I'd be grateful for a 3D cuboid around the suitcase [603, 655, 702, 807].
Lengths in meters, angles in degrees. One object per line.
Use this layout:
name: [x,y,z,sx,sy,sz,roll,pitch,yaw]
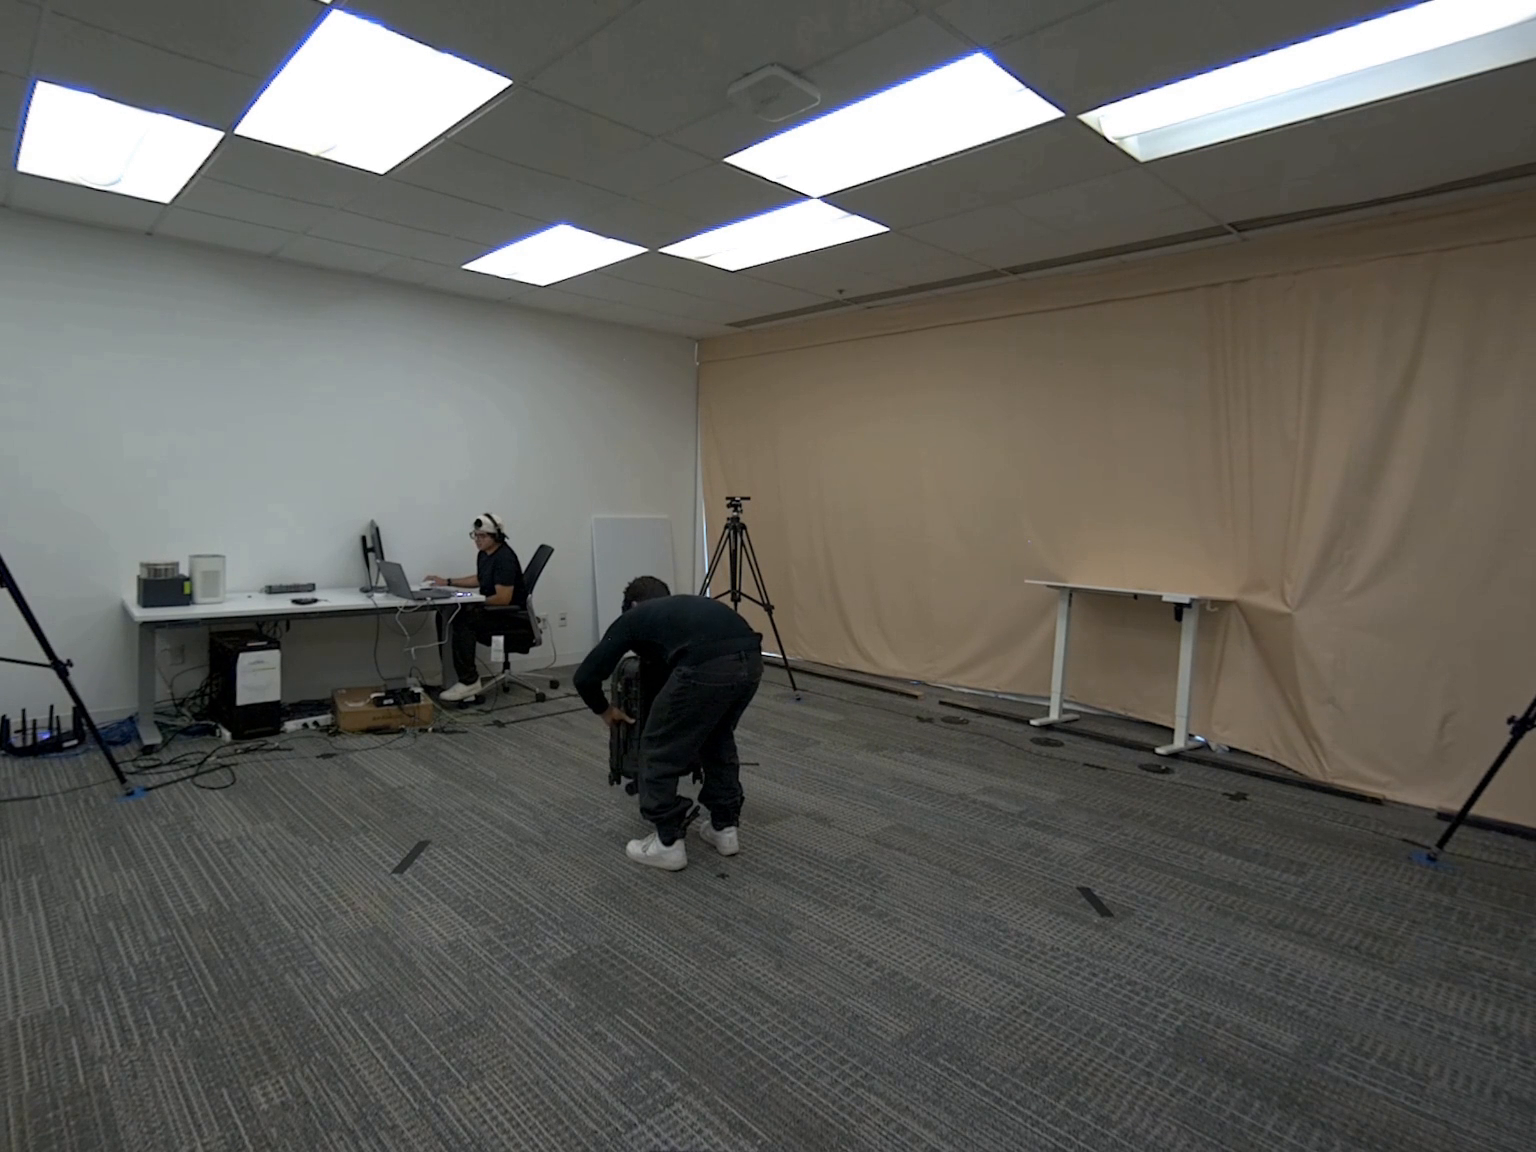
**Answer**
suitcase: [-0.486,0.604,3.573,0.367,0.550,0.253,1,-2,-36]
